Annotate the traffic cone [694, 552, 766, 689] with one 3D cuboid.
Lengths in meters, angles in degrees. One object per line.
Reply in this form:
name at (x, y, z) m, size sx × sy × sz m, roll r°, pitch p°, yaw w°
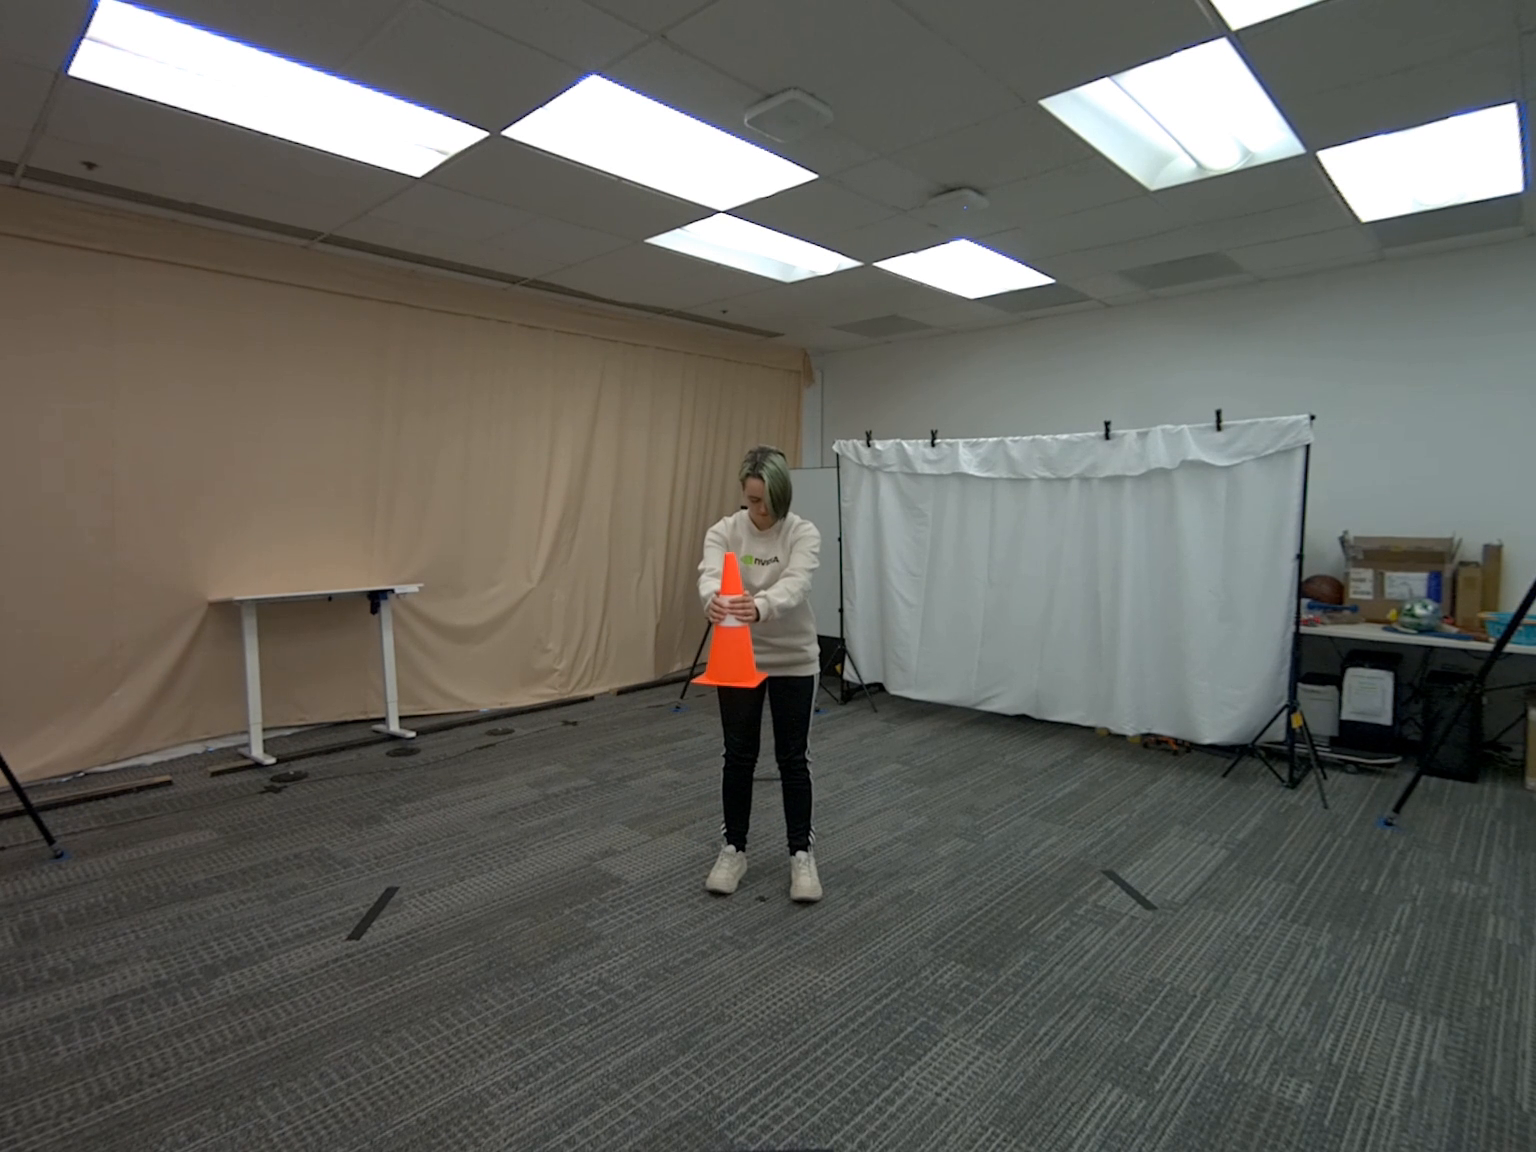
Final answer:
traffic cone at (-0.107, 0.127, 2.536) m, size 0.209 × 0.382 × 0.200 m, roll 2°, pitch 5°, yaw 16°
